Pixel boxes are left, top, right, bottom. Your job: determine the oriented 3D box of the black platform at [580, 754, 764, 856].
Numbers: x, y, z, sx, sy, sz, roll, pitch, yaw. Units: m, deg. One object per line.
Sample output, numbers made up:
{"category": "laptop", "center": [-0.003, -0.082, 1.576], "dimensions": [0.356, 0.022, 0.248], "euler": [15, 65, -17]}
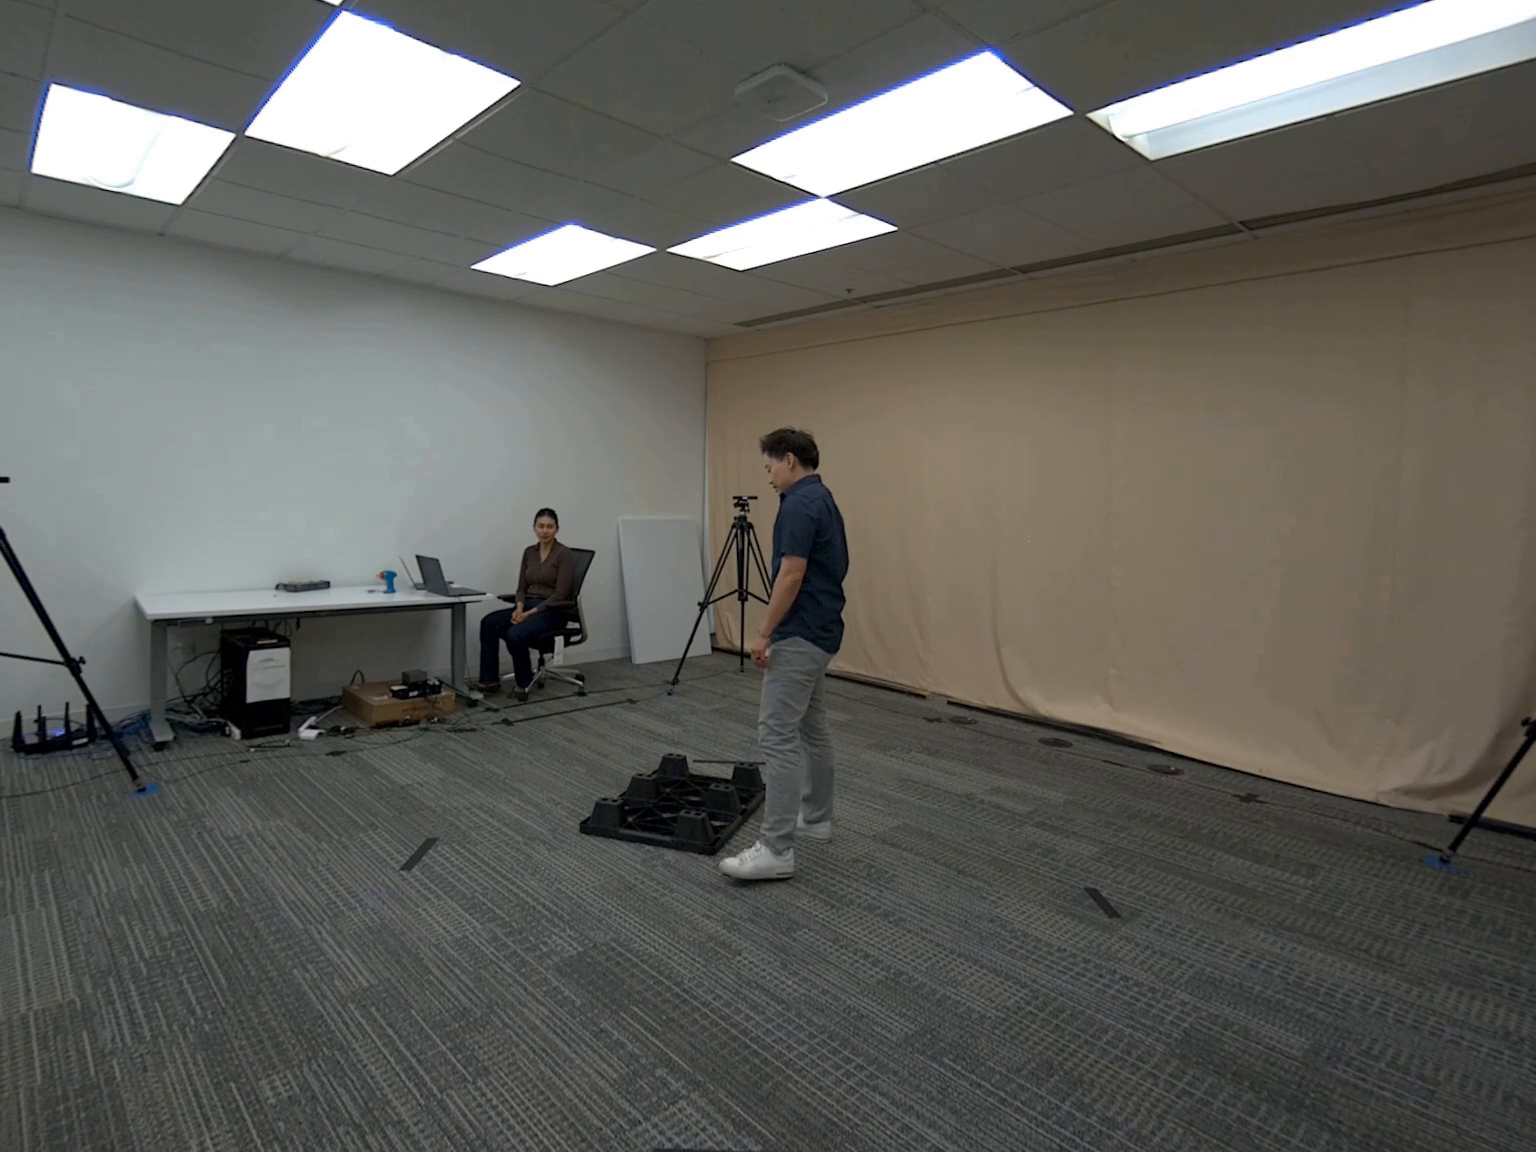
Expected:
{"category": "black platform", "center": [-0.392, 0.979, 3.732], "dimensions": [0.614, 0.143, 0.796], "euler": [3, 5, 17]}
